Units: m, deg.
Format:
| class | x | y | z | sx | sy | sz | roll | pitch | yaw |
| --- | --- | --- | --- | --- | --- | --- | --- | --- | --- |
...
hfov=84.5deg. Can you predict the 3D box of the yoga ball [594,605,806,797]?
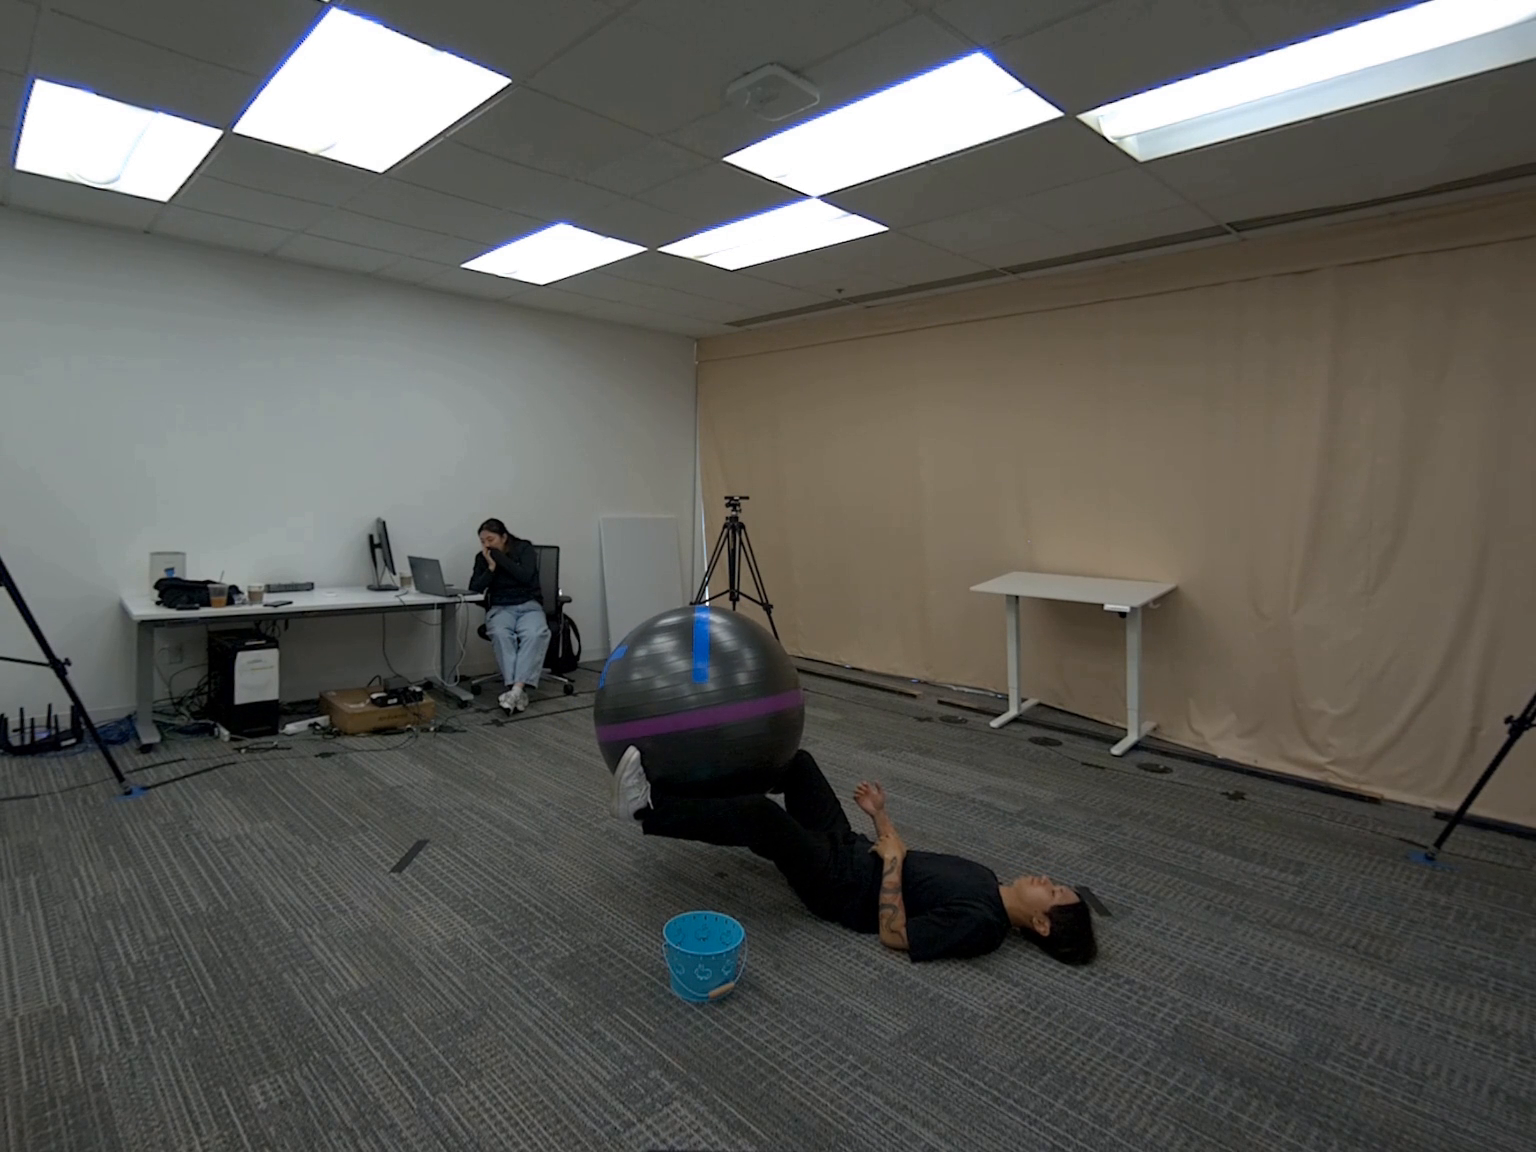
| class | x | y | z | sx | sy | sz | roll | pitch | yaw |
| --- | --- | --- | --- | --- | --- | --- | --- | --- | --- |
| yoga ball | -0.257 | 0.496 | 3.063 | 0.757 | 0.756 | 0.761 | 1 | 4 | -1 |
